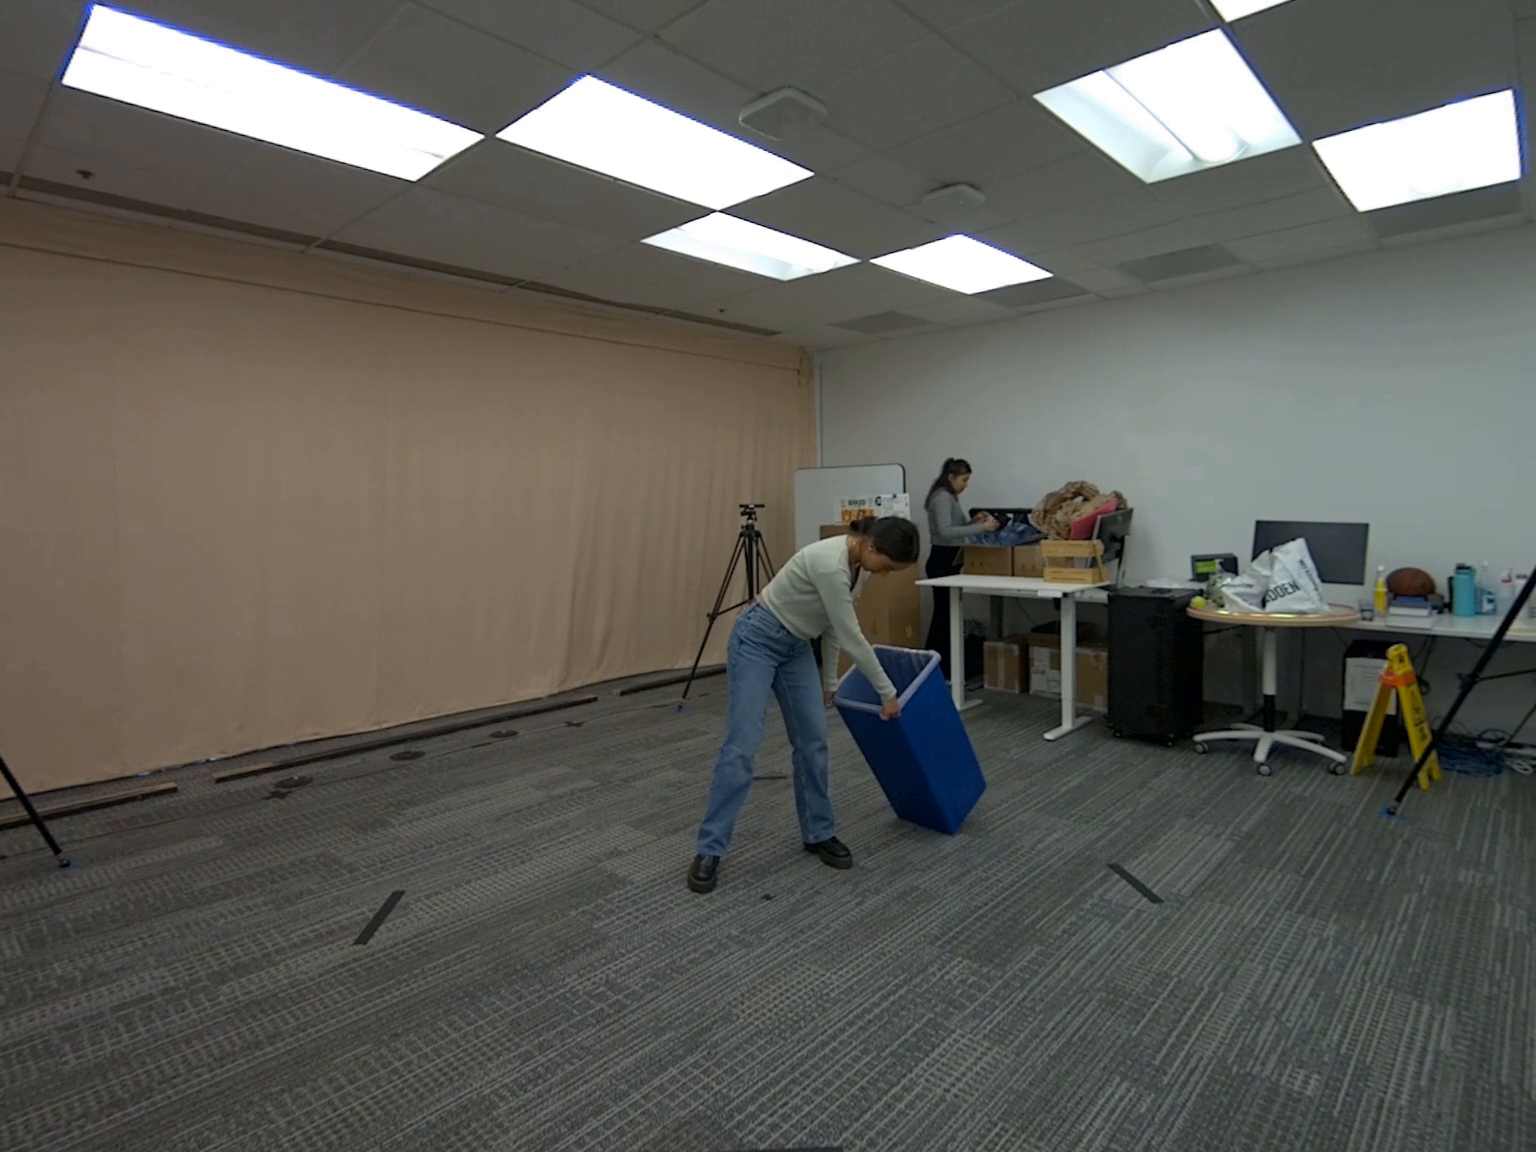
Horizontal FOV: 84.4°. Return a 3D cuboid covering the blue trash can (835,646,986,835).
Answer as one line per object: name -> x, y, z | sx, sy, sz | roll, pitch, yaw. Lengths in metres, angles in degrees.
blue trash can -> 0.617, 0.701, 3.546 | 0.370, 0.699, 0.390 | -40, 24, -32
